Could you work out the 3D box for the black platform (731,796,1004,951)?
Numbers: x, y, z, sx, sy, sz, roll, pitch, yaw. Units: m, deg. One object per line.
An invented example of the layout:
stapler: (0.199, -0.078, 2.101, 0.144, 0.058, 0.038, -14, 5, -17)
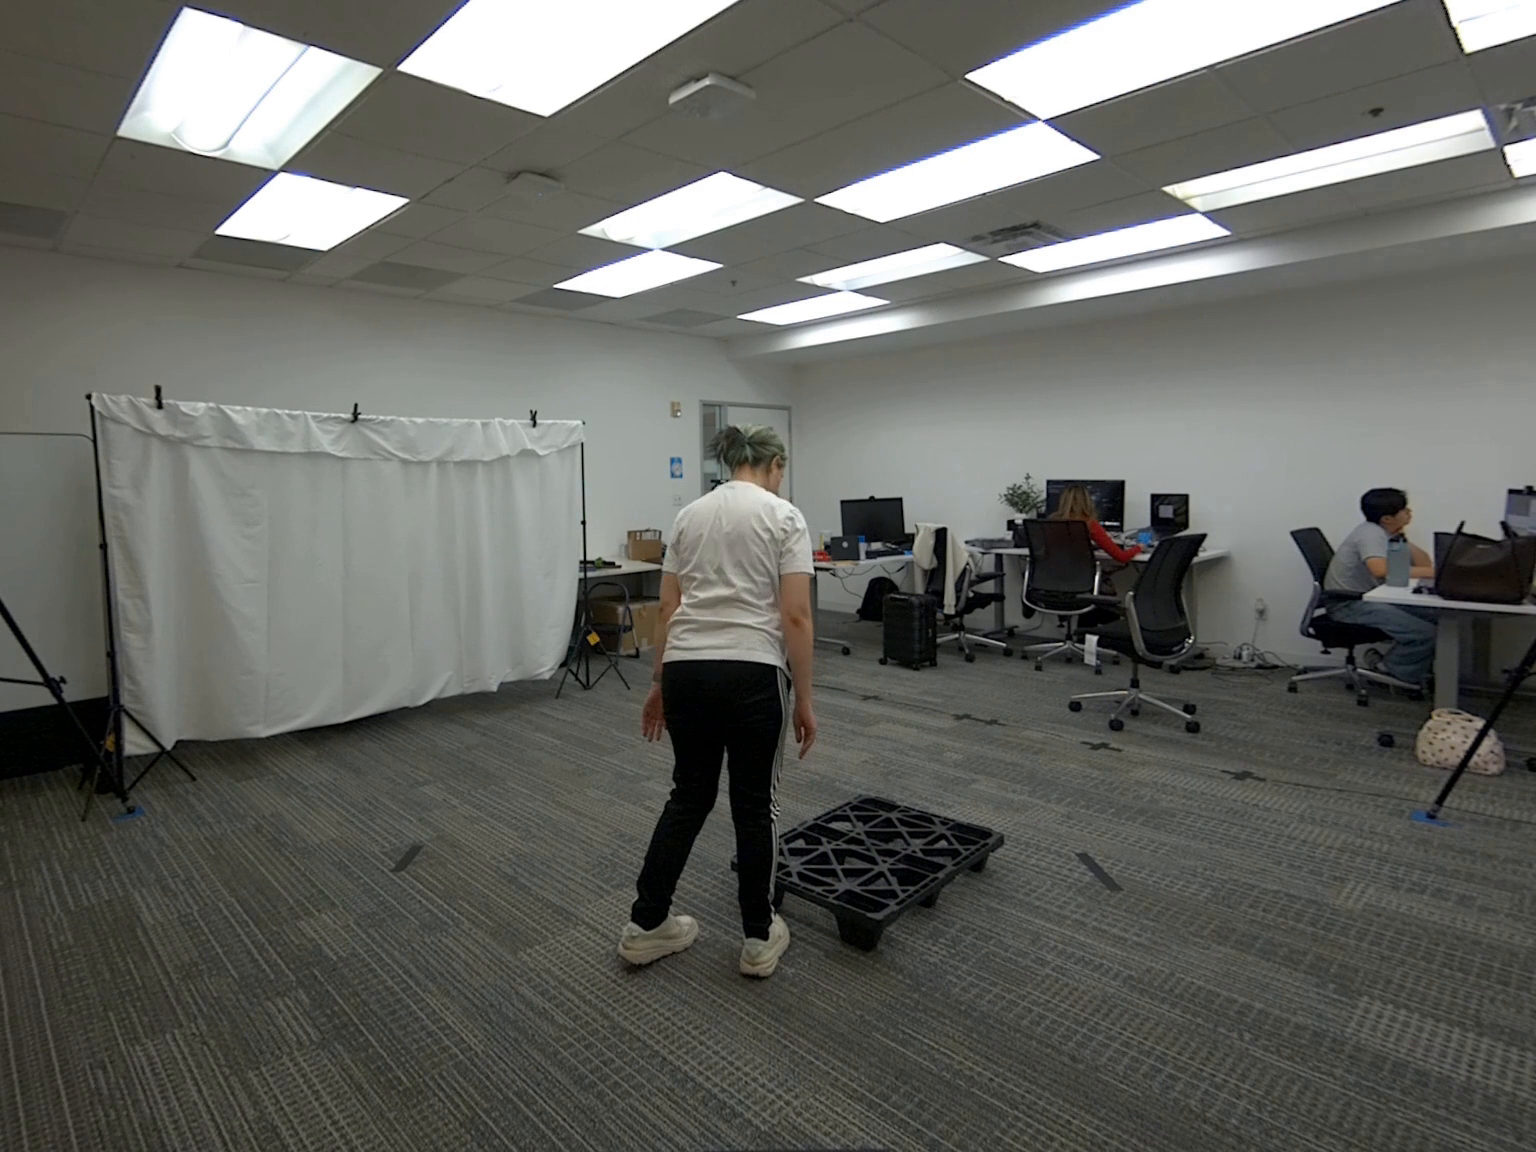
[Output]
black platform: (0.352, 0.993, 2.934, 0.623, 0.143, 0.785, 4, 8, 42)
